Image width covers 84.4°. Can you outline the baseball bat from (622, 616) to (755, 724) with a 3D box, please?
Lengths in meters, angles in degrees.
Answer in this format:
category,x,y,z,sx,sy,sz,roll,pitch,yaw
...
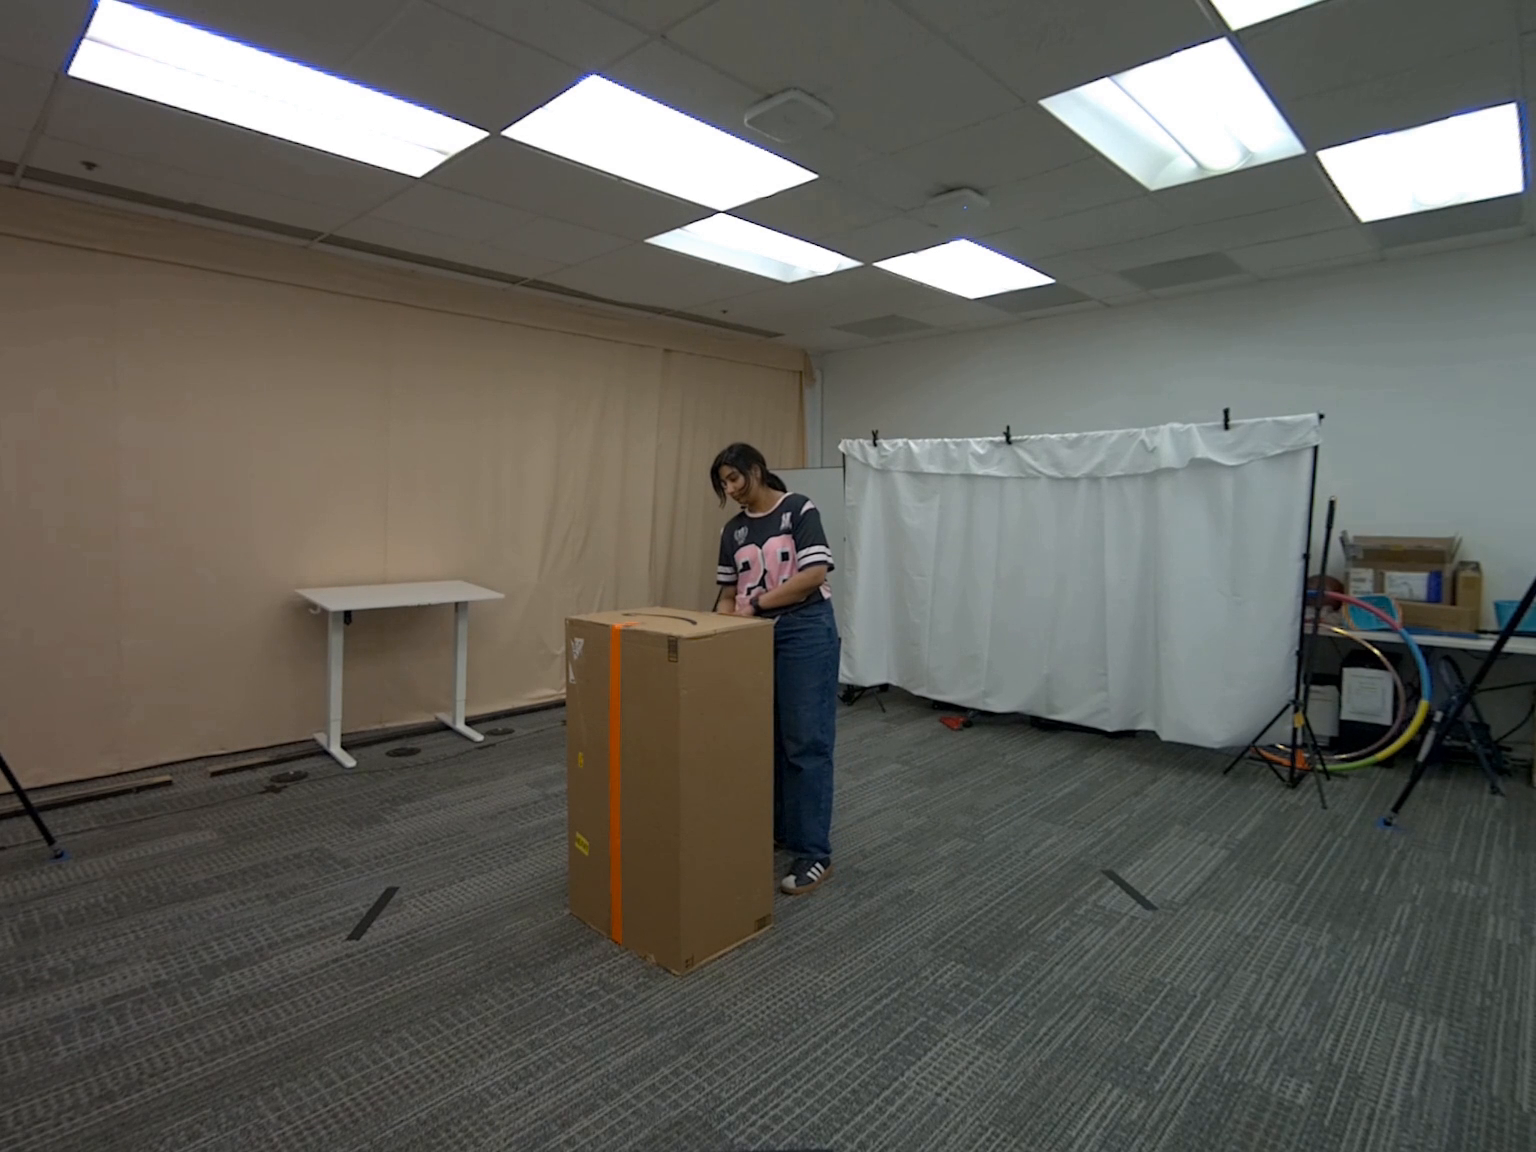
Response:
category,x,y,z,sx,sy,sz,roll,pitch,yaw
baseball bat,-0.303,0.347,3.193,0.543,0.088,0.089,-36,6,-1
